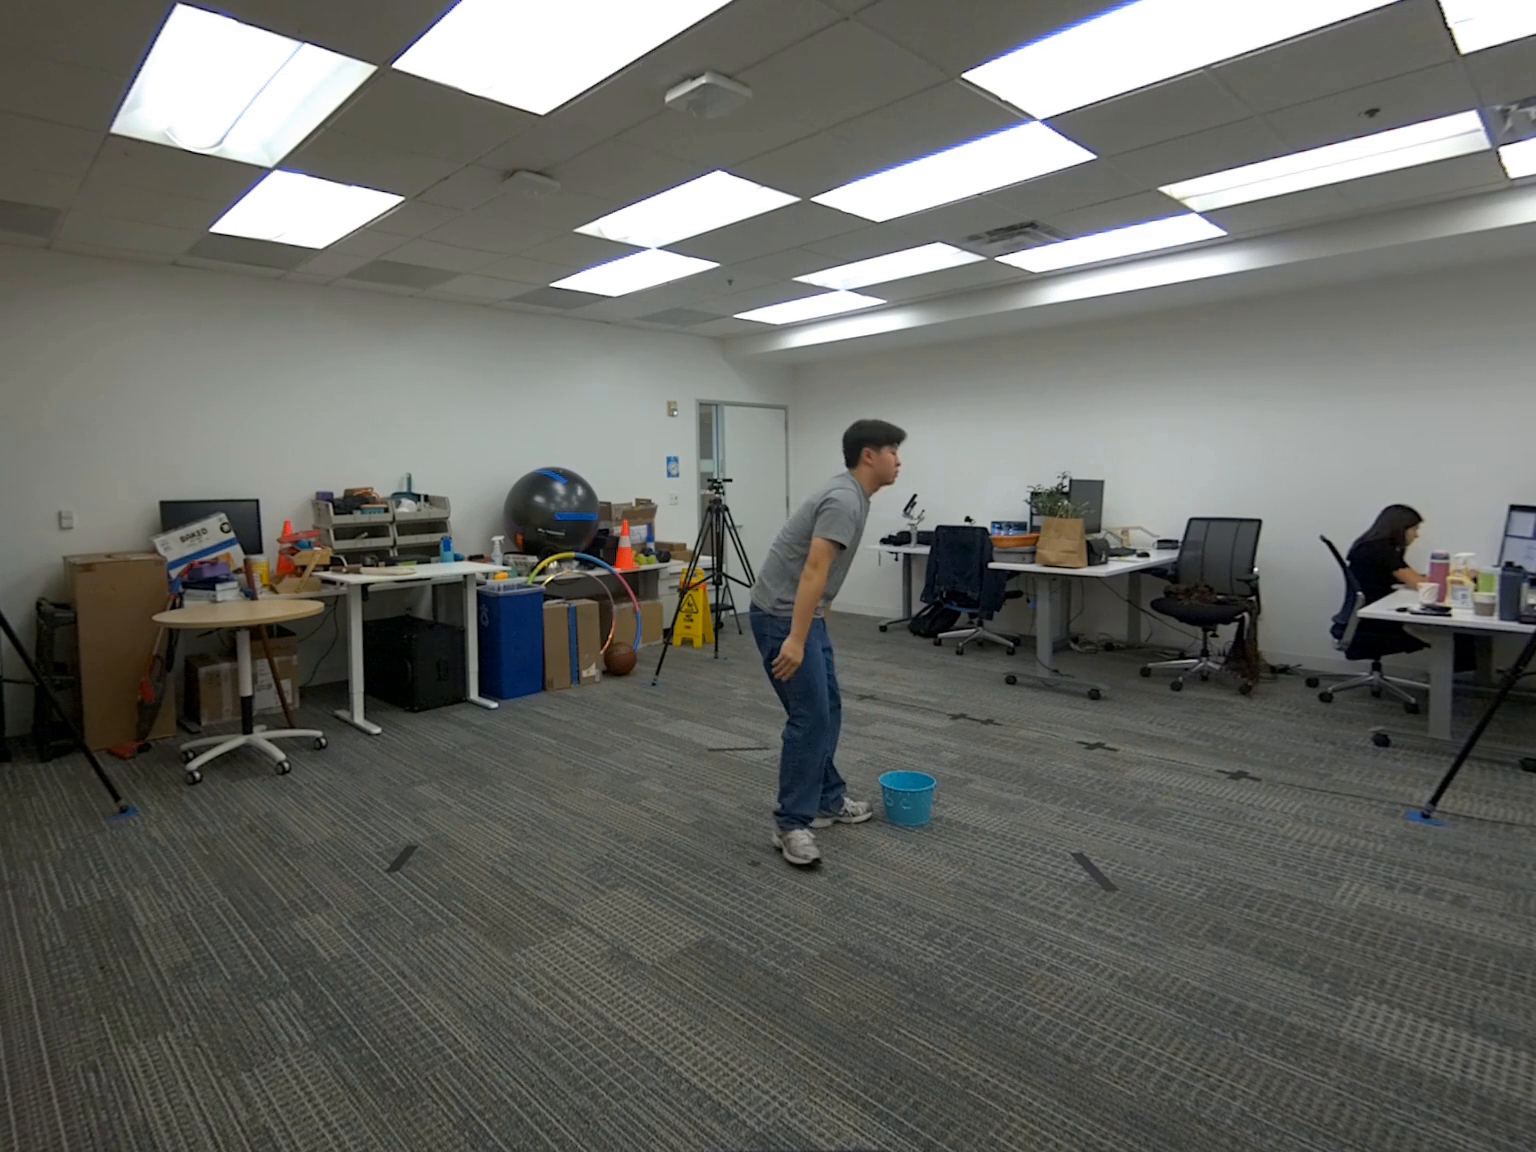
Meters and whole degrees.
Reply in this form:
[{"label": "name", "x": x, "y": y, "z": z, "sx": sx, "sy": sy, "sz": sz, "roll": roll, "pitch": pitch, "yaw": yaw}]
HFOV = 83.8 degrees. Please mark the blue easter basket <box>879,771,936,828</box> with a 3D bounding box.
[{"label": "blue easter basket", "x": 0.570, "y": 0.907, "z": 3.506, "sx": 0.243, "sy": 0.155, "sz": 0.245, "roll": -1, "pitch": 5, "yaw": -2}]
